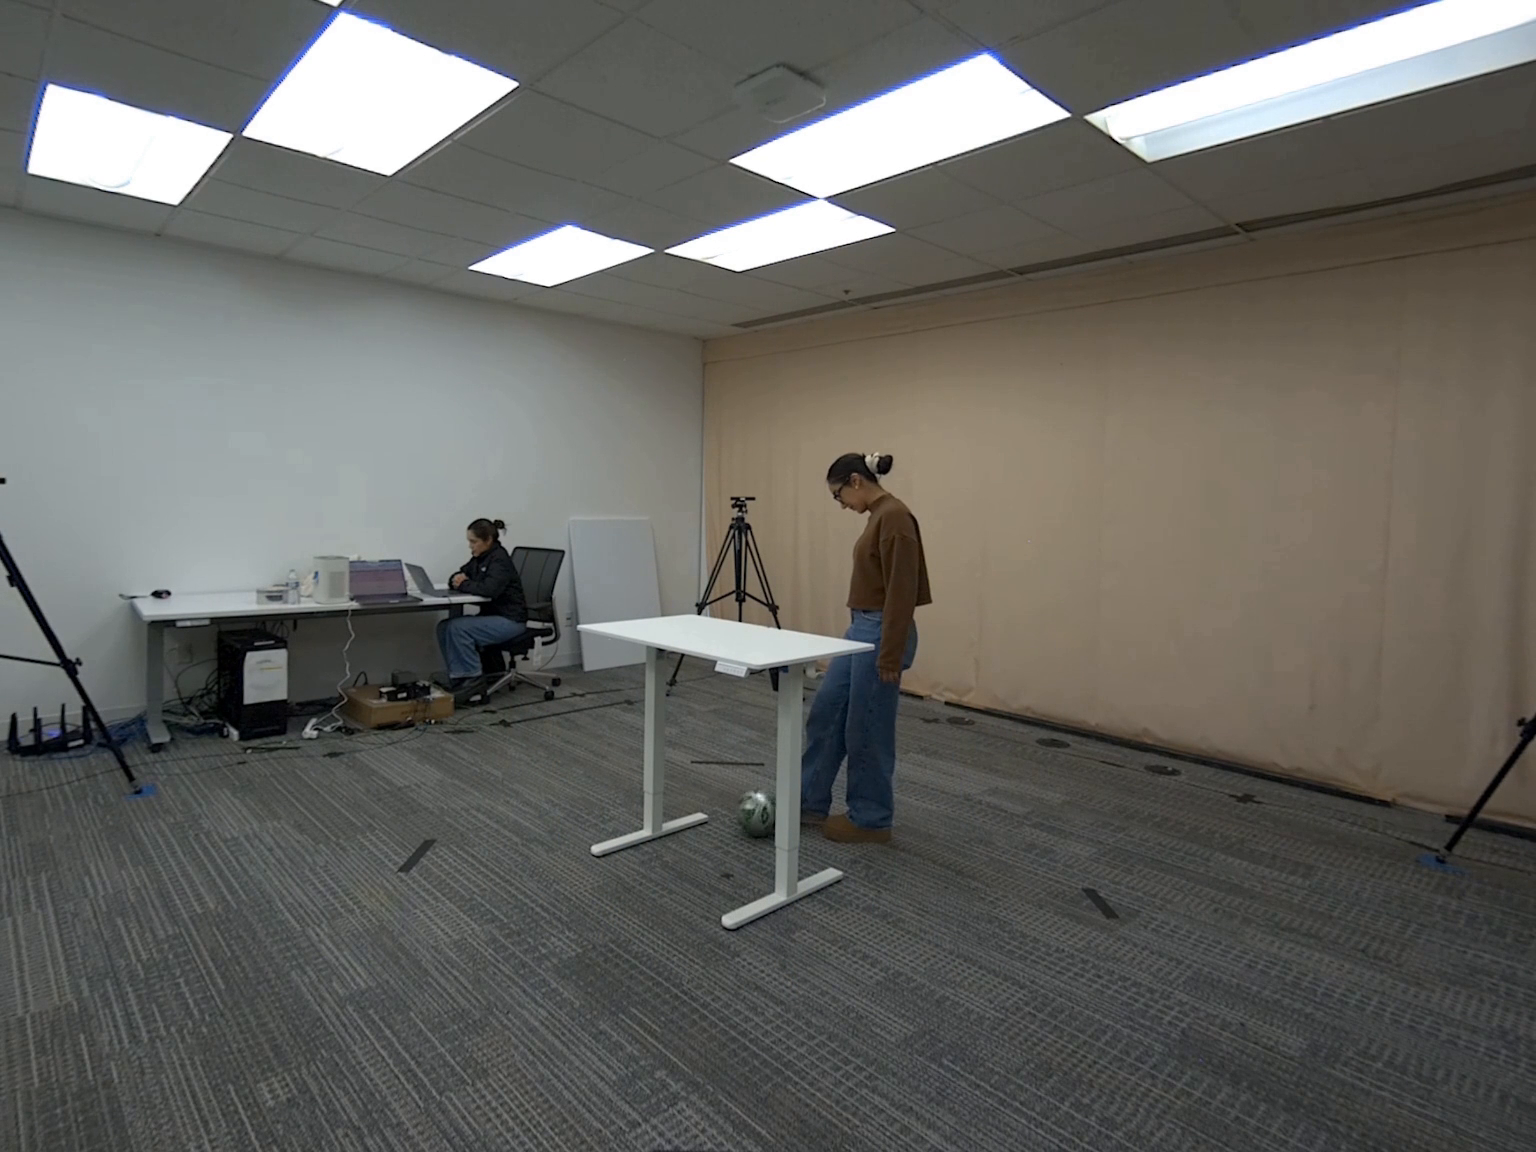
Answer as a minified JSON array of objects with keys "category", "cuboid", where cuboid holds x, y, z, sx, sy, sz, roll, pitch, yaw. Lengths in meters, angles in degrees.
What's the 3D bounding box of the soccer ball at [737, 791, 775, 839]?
[{"category":"soccer ball","cuboid":[-0.049,0.977,3.493,0.187,0.187,0.188,1,4,-1]}]
